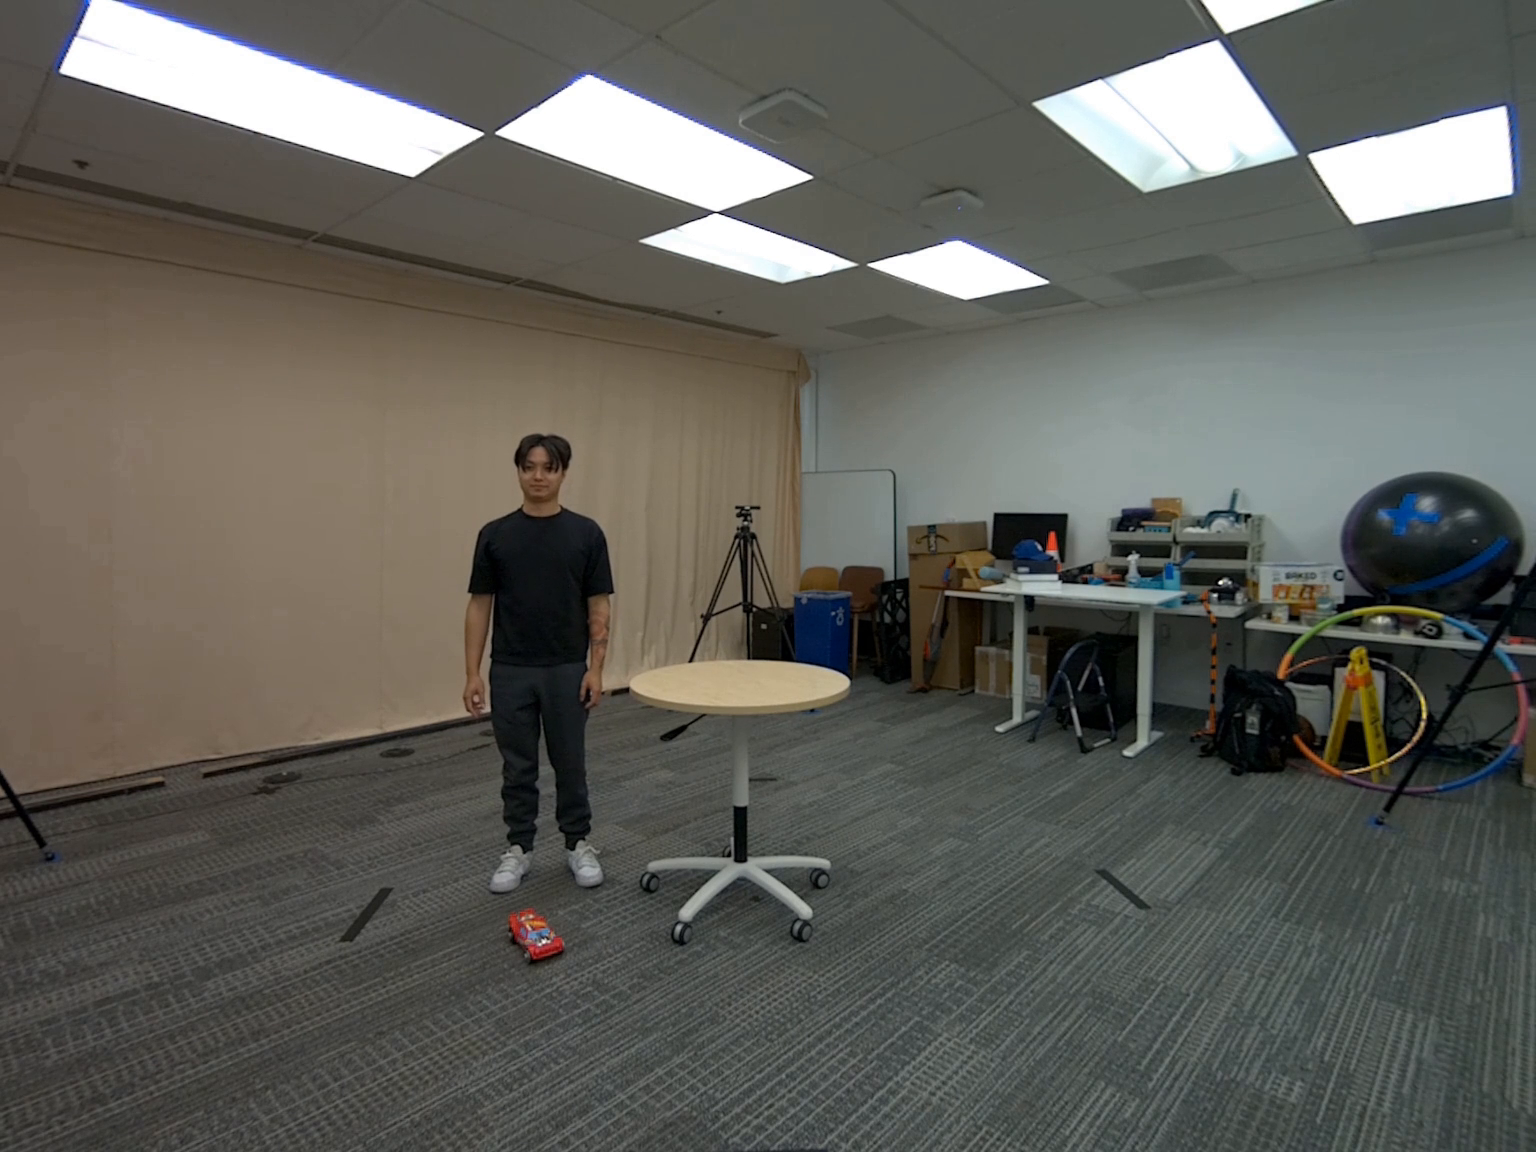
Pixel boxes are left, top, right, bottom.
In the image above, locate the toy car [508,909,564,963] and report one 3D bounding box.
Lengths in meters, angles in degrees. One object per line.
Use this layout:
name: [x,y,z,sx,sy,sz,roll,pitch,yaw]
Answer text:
toy car: [-0.751,1.147,2.669,0.126,0.082,0.264,-4,17,-35]
